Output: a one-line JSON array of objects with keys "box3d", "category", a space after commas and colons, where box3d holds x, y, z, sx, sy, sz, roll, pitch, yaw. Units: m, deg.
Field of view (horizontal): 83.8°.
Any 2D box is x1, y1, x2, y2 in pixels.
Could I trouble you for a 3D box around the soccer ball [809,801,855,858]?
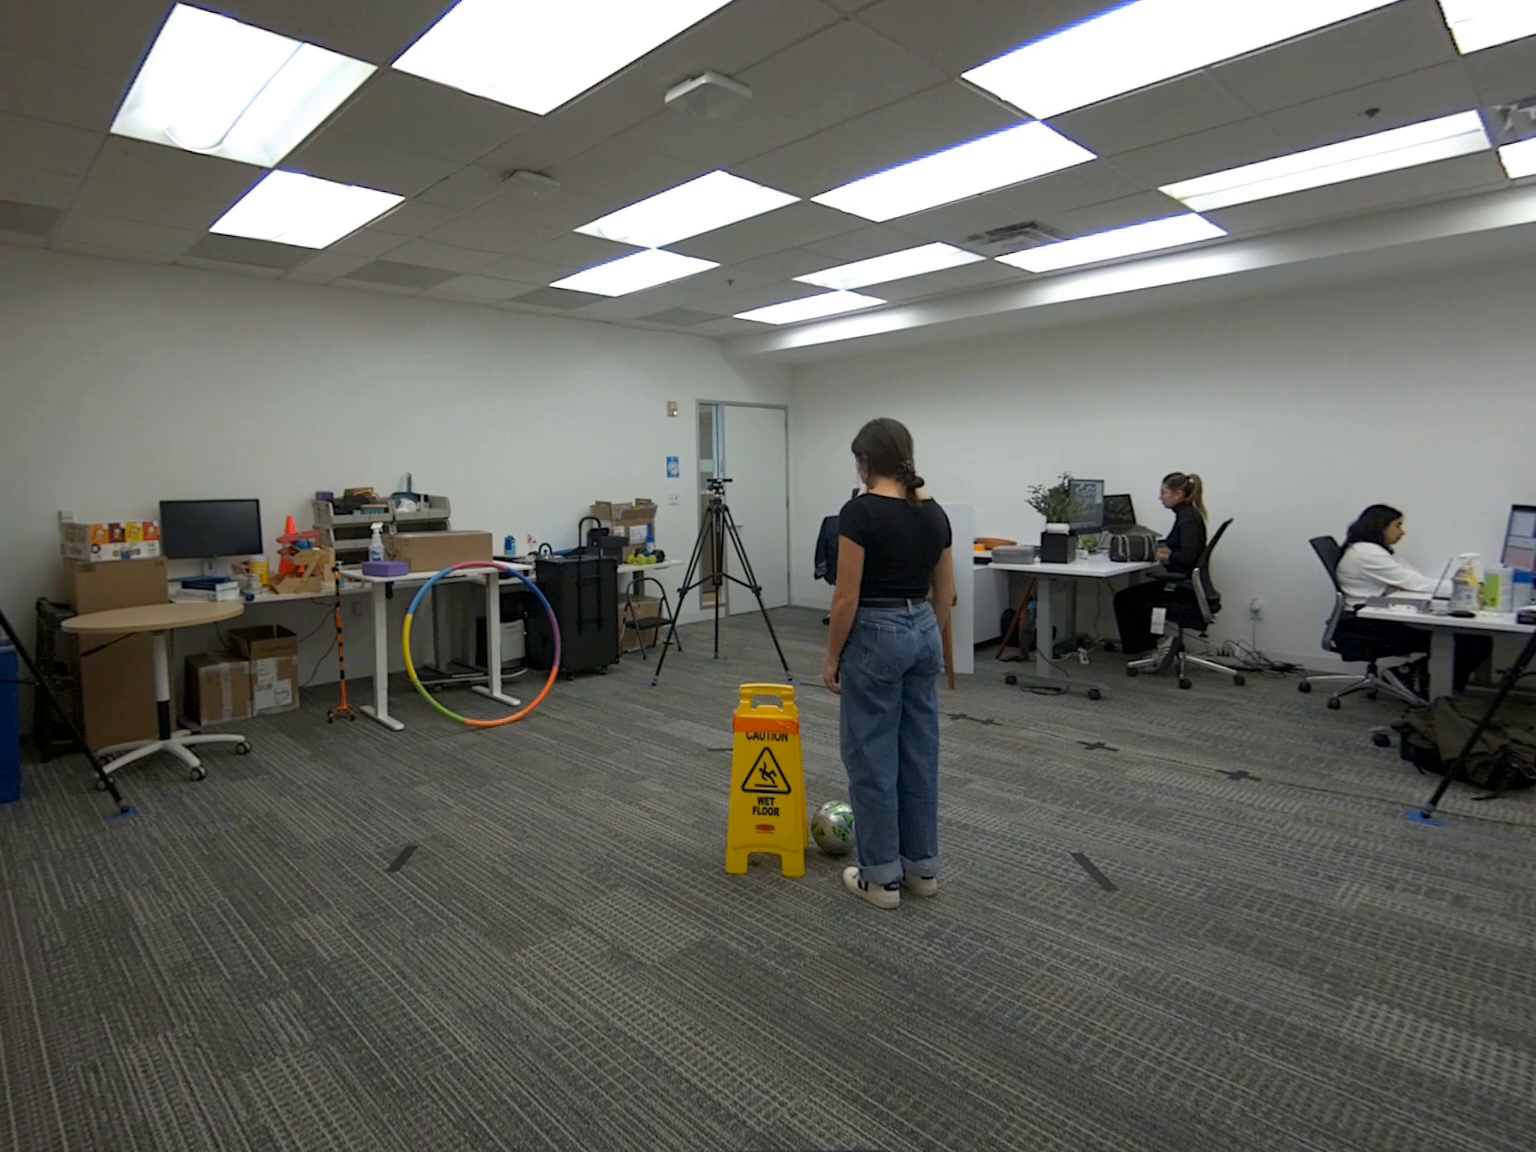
[{"box3d": [0.263, 0.941, 3.187, 0.187, 0.187, 0.188, -1, 5, -2], "category": "soccer ball"}]
